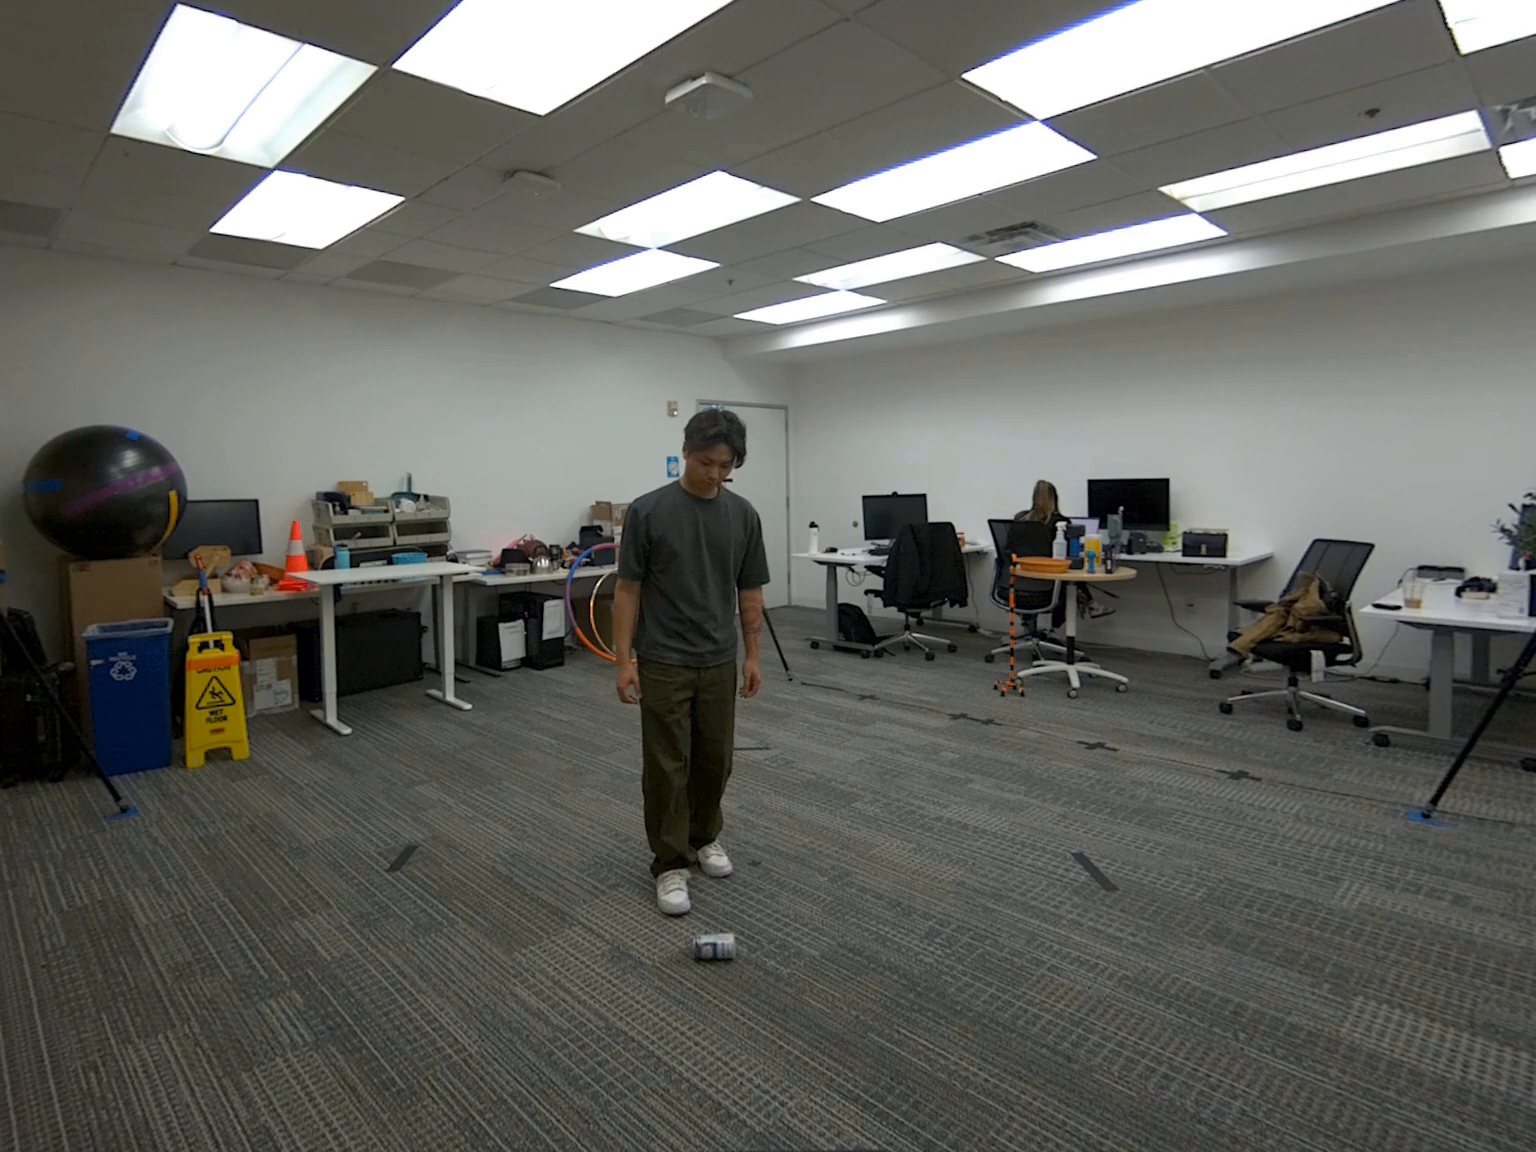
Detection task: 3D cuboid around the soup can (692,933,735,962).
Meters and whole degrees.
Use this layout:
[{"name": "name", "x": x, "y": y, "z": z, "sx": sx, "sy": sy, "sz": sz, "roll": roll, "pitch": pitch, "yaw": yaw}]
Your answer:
[{"name": "soup can", "x": -0.162, "y": 1.082, "z": 2.501, "sx": 0.121, "sy": 0.067, "sz": 0.067, "roll": -1, "pitch": 5, "yaw": -4}]
